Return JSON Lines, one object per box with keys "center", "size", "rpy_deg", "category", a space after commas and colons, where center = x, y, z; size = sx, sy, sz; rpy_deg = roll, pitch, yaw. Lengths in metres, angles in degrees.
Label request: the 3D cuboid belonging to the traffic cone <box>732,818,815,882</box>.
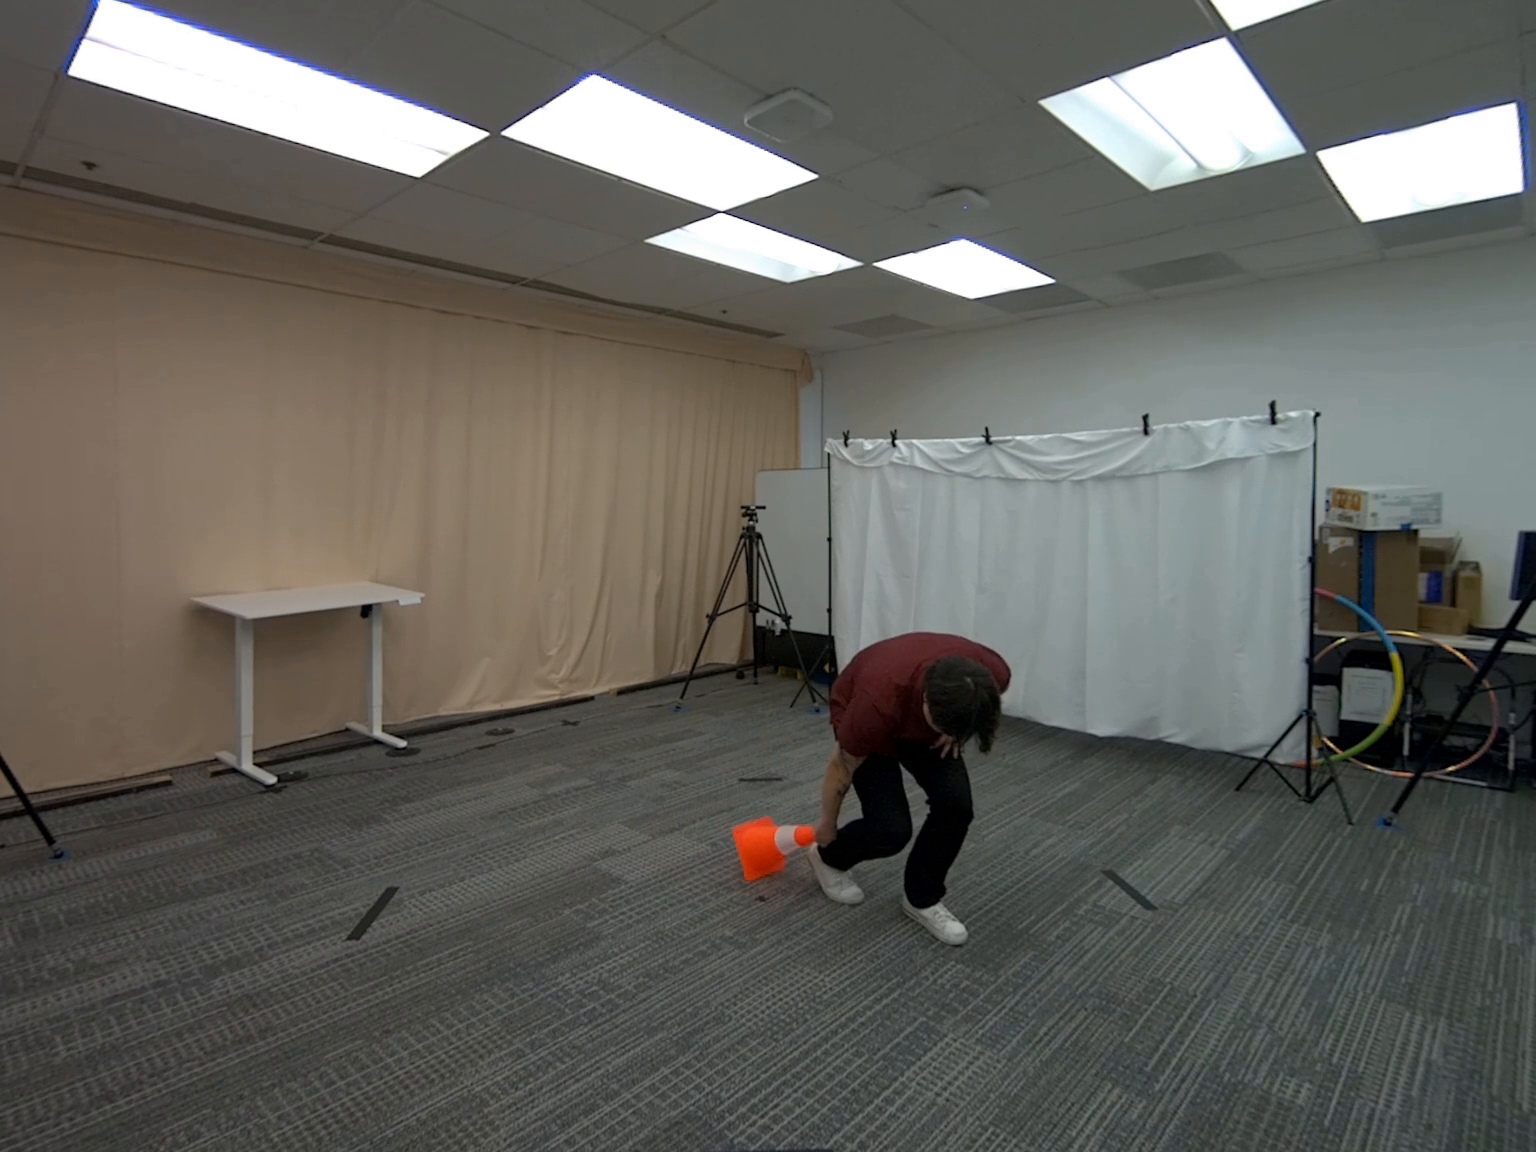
{"center": [0.092, 0.964, 3.074], "size": [0.198, 0.206, 0.390], "rpy_deg": [-3, -20, -43], "category": "traffic cone"}
